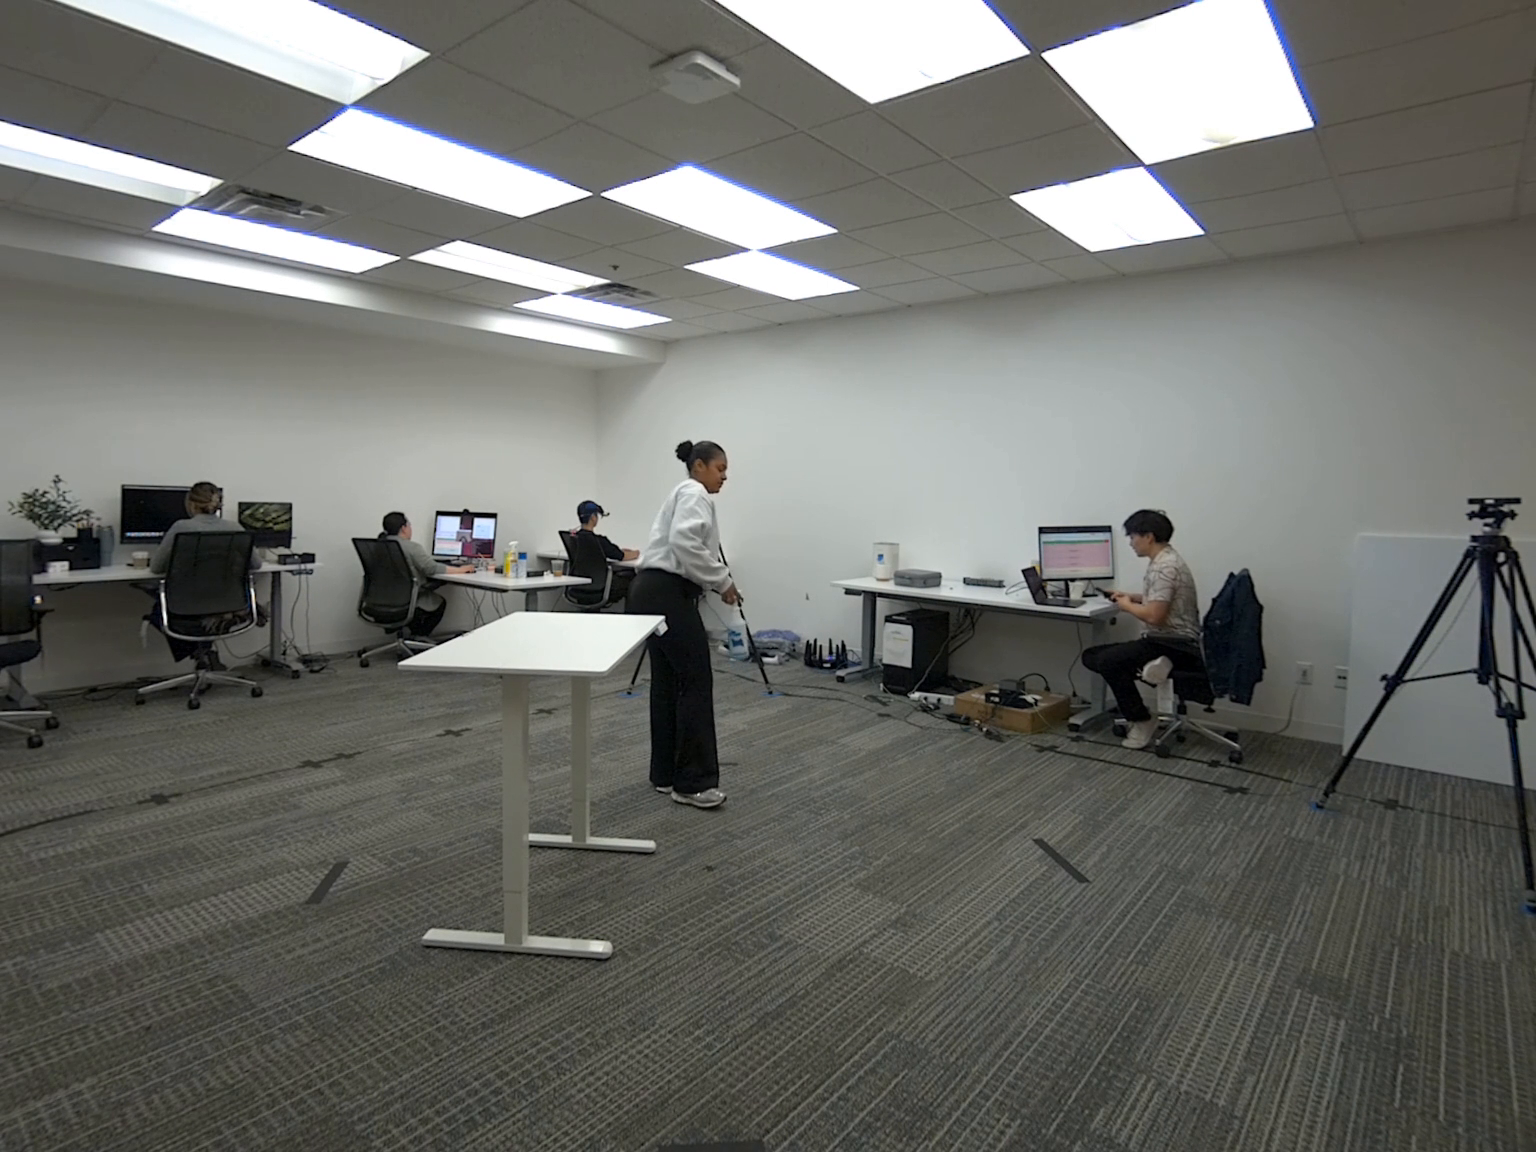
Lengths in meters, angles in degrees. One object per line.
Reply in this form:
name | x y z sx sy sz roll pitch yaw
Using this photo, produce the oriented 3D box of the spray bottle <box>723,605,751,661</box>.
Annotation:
spray bottle | -0.161 0.220 3.778 0.088 0.297 0.089 -5 2 -25
